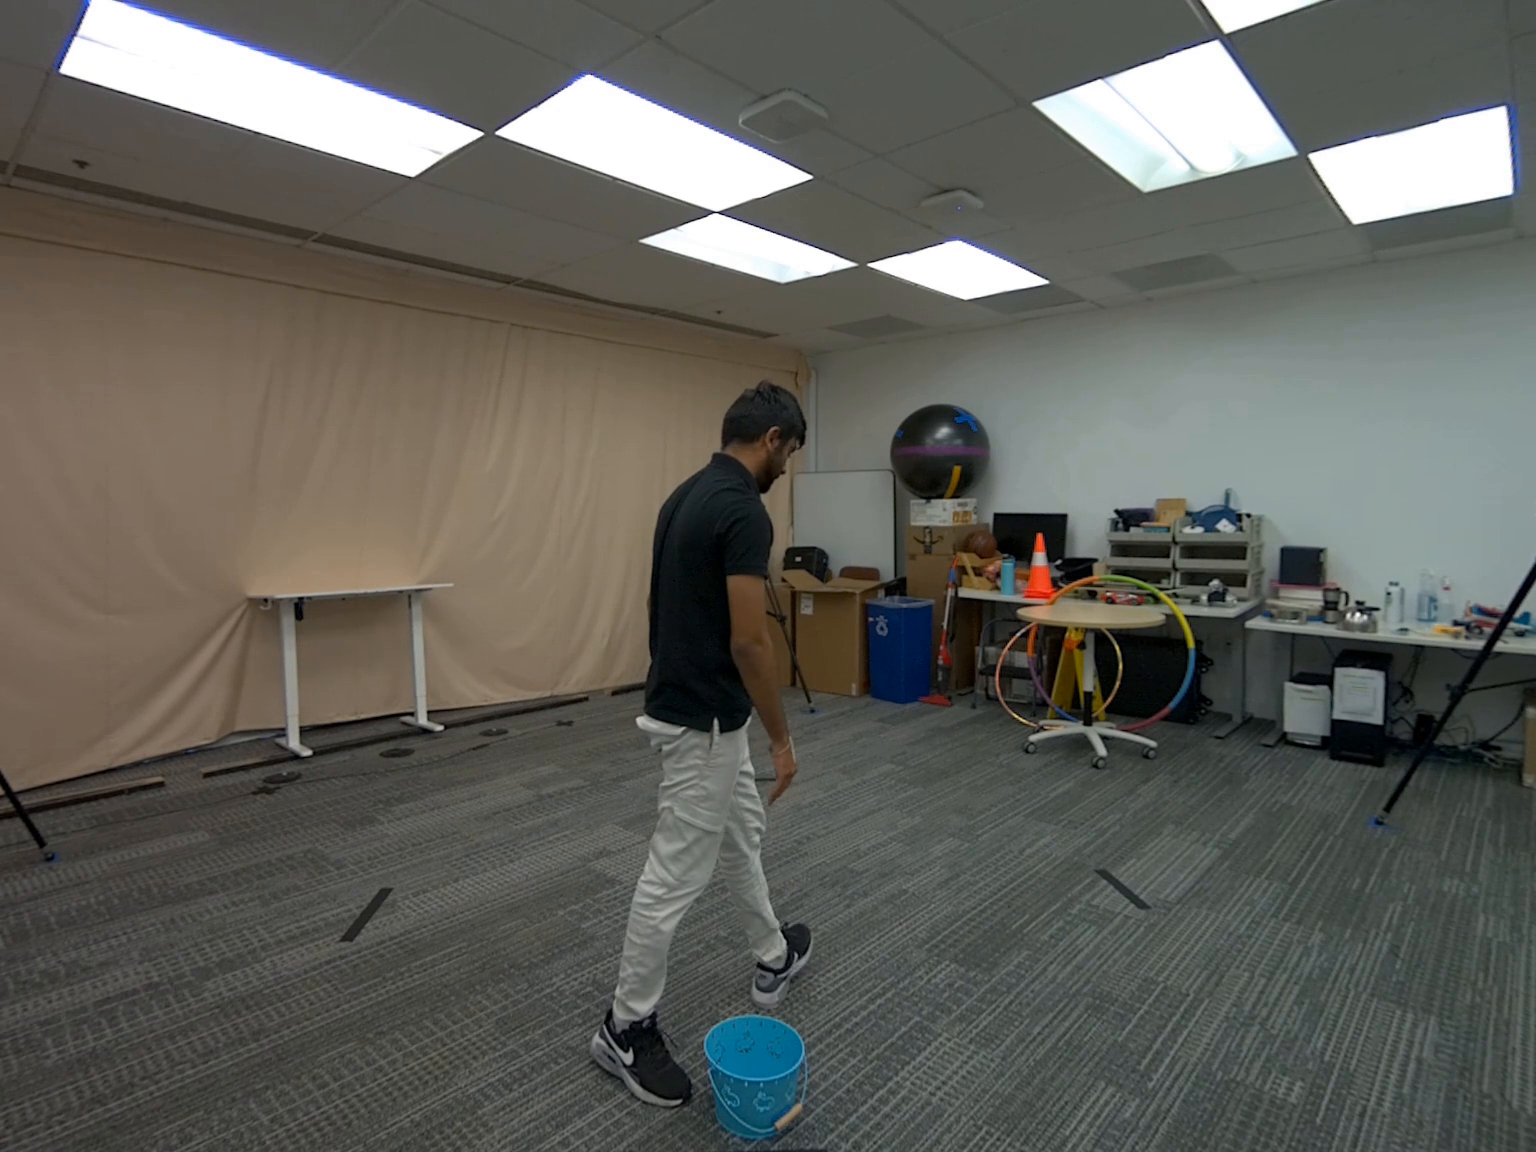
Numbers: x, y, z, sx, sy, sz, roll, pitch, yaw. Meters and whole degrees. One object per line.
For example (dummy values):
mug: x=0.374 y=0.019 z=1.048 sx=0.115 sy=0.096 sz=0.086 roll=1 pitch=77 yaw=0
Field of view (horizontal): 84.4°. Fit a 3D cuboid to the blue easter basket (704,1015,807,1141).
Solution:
blue easter basket: x=-0.031 y=1.154 z=1.942 sx=0.243 sy=0.155 sz=0.244 roll=-1 pitch=4 yaw=-2
